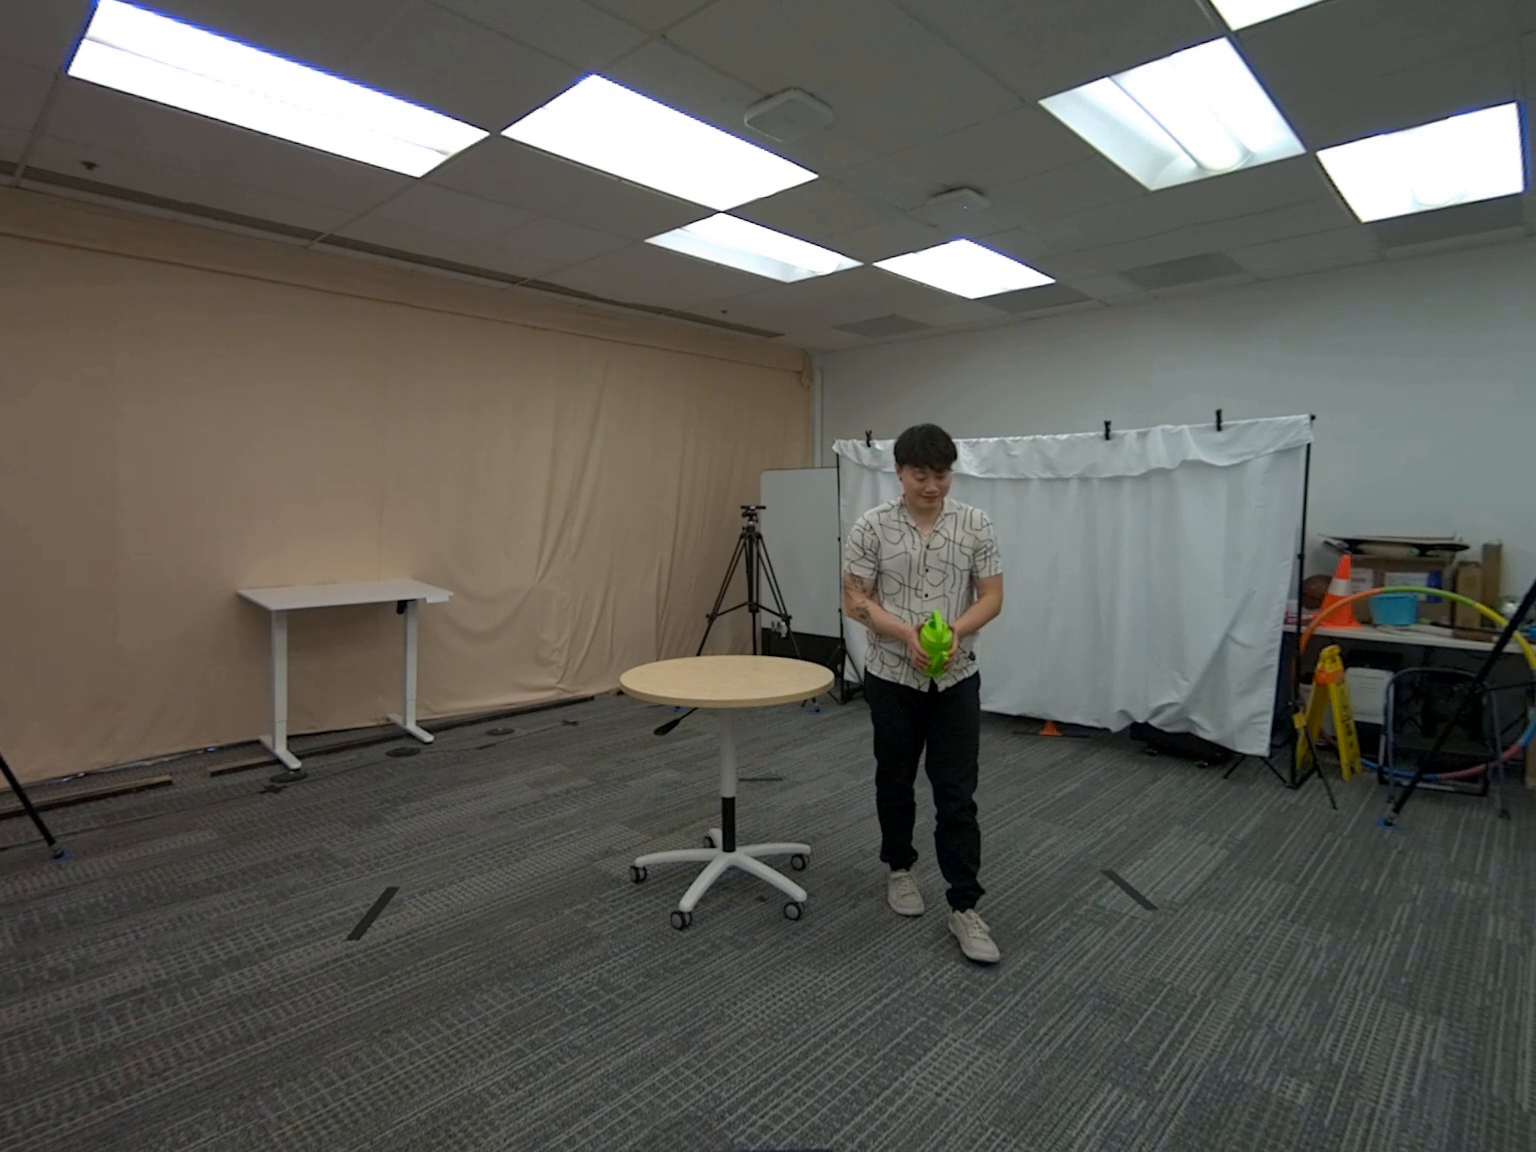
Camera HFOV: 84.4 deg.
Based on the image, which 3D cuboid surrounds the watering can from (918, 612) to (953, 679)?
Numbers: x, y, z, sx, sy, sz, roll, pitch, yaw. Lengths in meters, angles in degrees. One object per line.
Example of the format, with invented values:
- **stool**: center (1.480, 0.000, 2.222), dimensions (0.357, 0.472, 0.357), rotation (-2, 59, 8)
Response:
- **watering can**: center (0.503, 0.226, 2.544), dimensions (0.099, 0.174, 0.278), rotation (6, 30, 12)
